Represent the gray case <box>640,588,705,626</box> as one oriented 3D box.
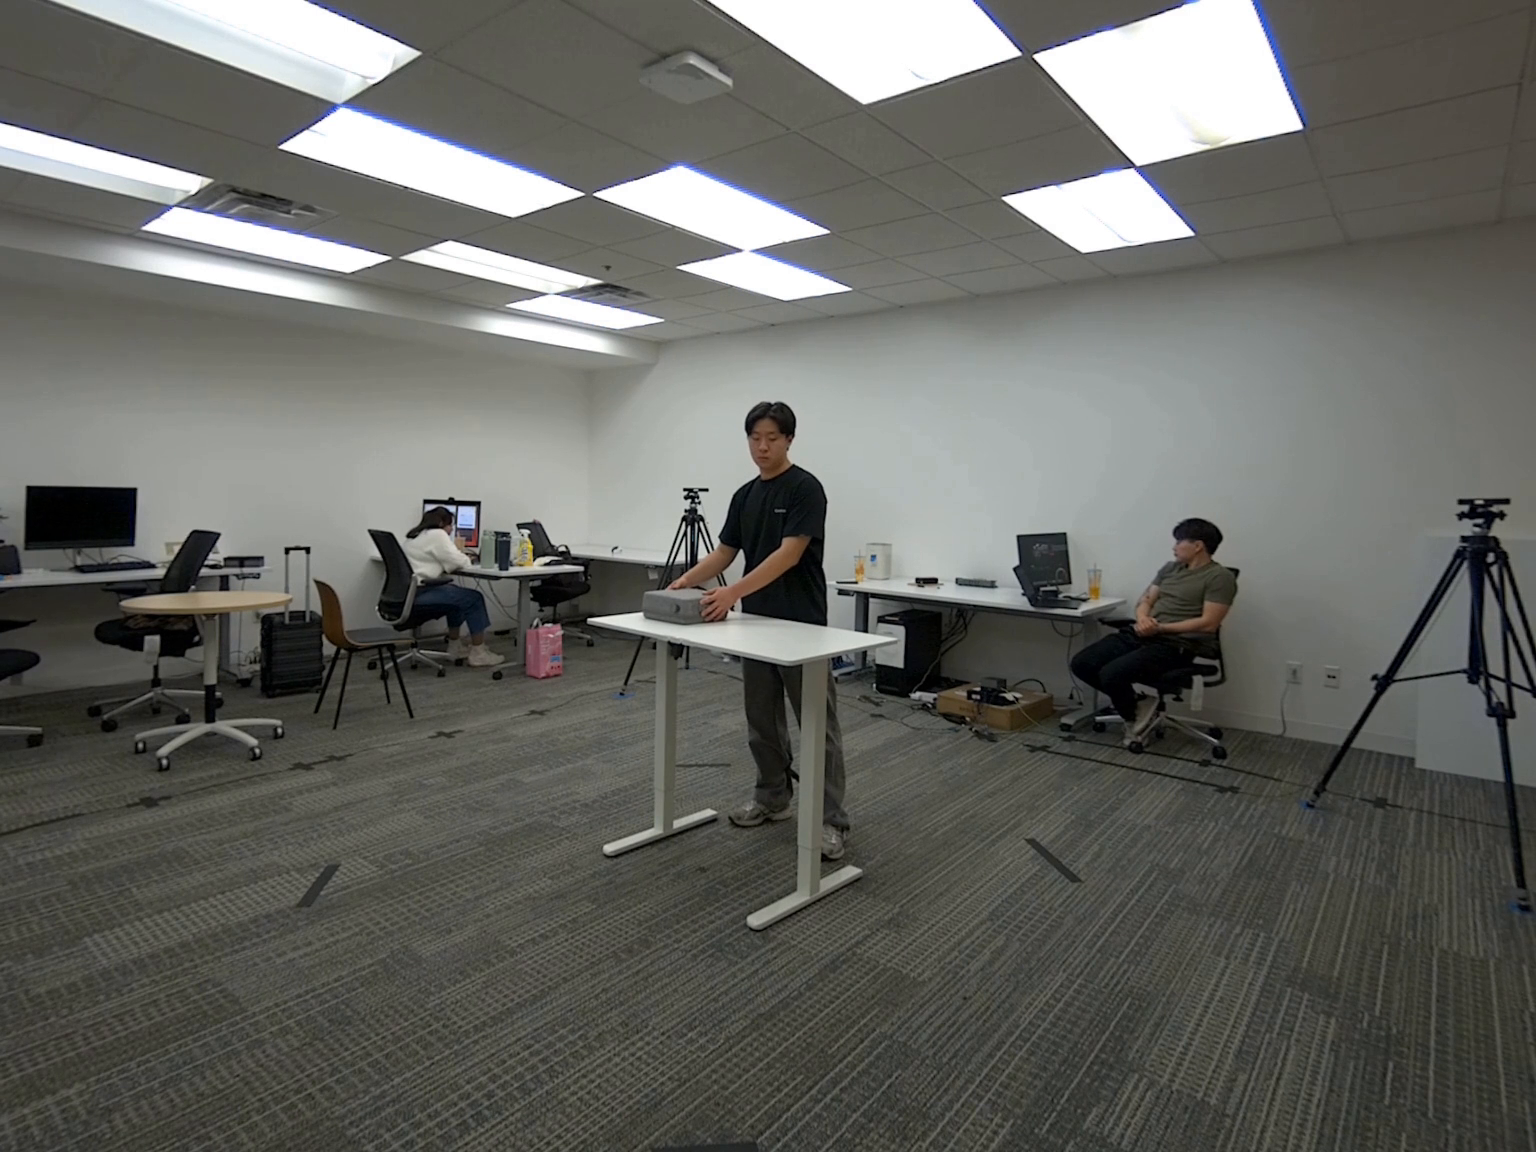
[{"bbox_3d":[-0.324,0.112,3.291,0.297,0.103,0.255,5,7,41],"label":"gray case"}]
